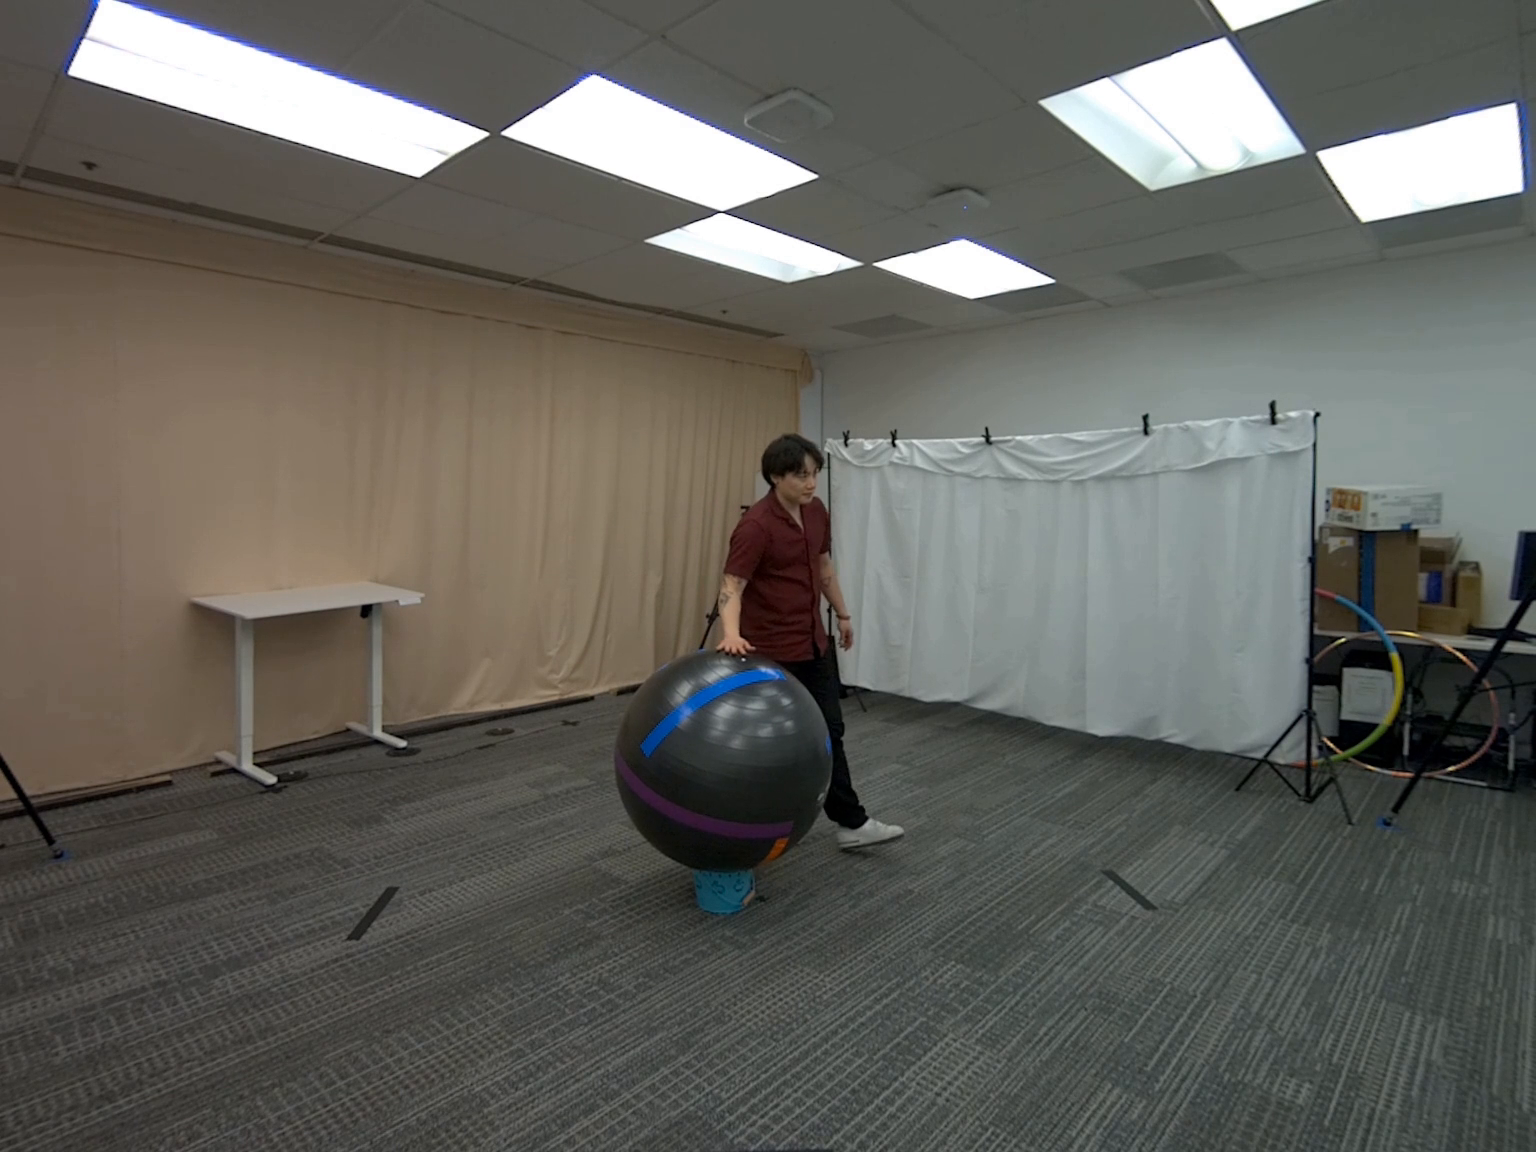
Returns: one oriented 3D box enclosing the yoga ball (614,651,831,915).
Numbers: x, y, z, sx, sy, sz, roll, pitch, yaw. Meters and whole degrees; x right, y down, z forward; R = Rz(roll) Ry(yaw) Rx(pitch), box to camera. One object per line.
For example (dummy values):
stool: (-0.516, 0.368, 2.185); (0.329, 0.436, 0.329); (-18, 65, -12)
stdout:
yoga ball: (-0.152, 0.641, 2.936); (0.757, 0.756, 0.760); (0, 4, -2)
